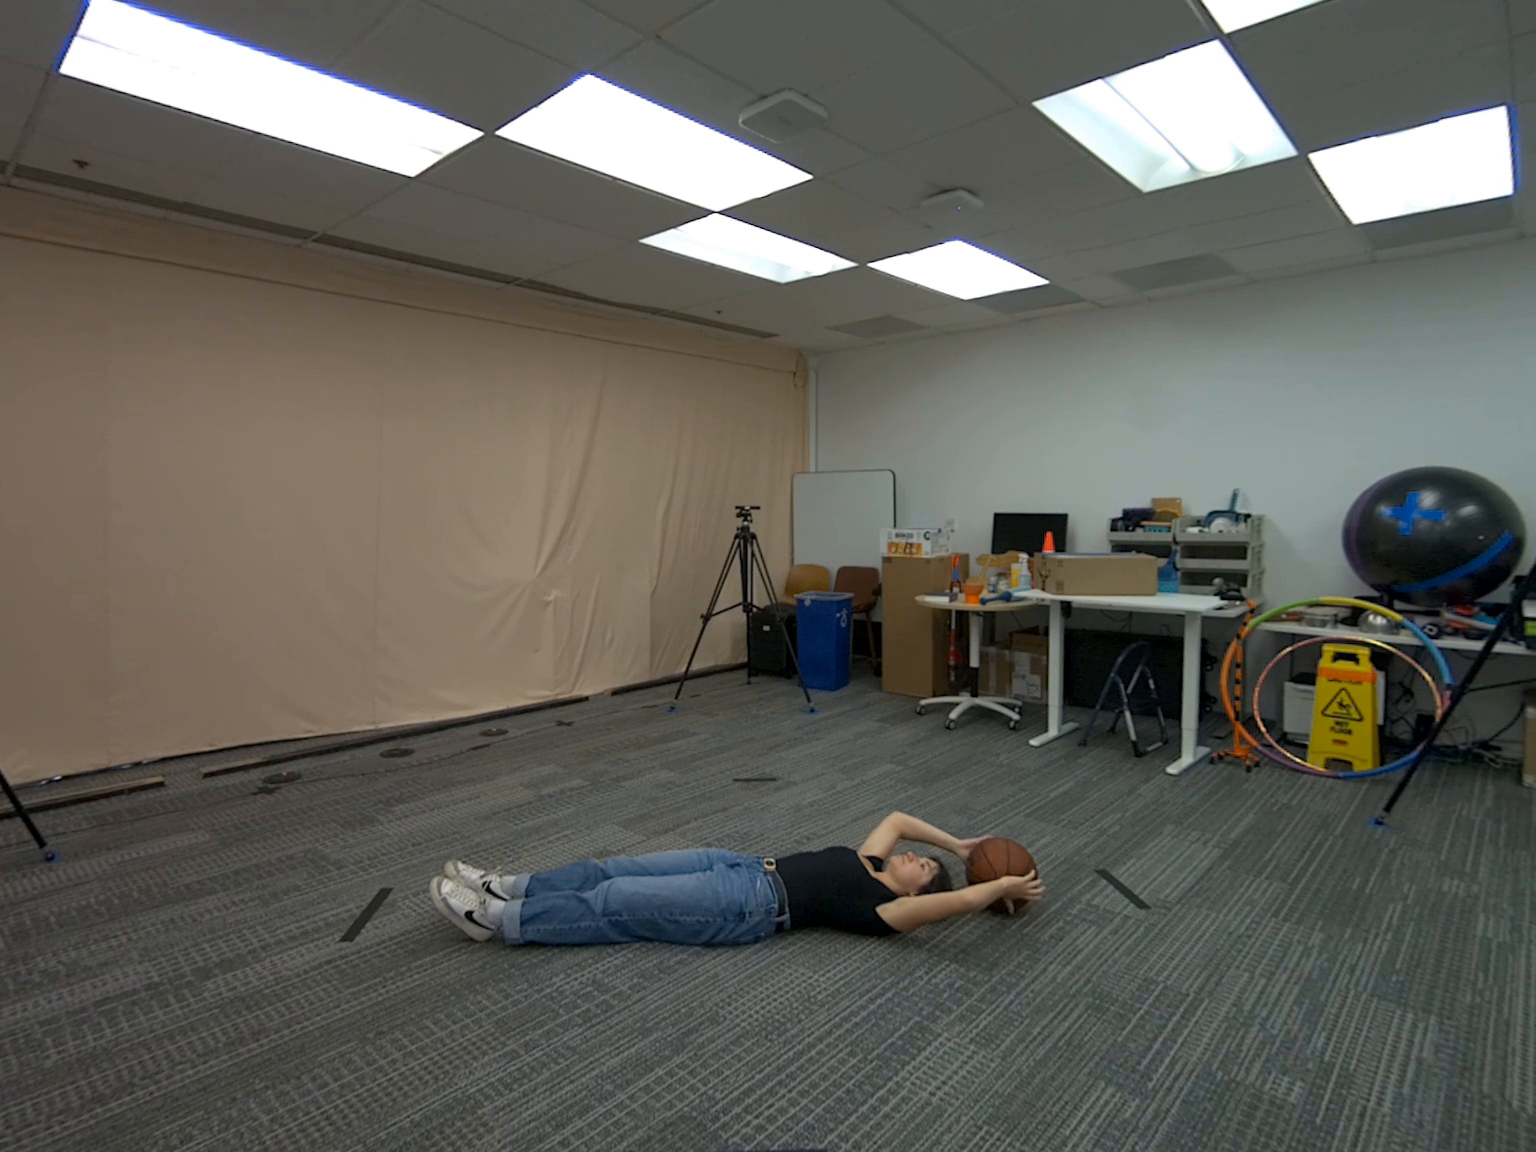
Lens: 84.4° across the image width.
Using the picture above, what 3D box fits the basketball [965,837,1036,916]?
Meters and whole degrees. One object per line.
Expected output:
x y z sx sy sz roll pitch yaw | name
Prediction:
0.816 1.031 2.907 0.236 0.235 0.237 0 4 -2 | basketball
